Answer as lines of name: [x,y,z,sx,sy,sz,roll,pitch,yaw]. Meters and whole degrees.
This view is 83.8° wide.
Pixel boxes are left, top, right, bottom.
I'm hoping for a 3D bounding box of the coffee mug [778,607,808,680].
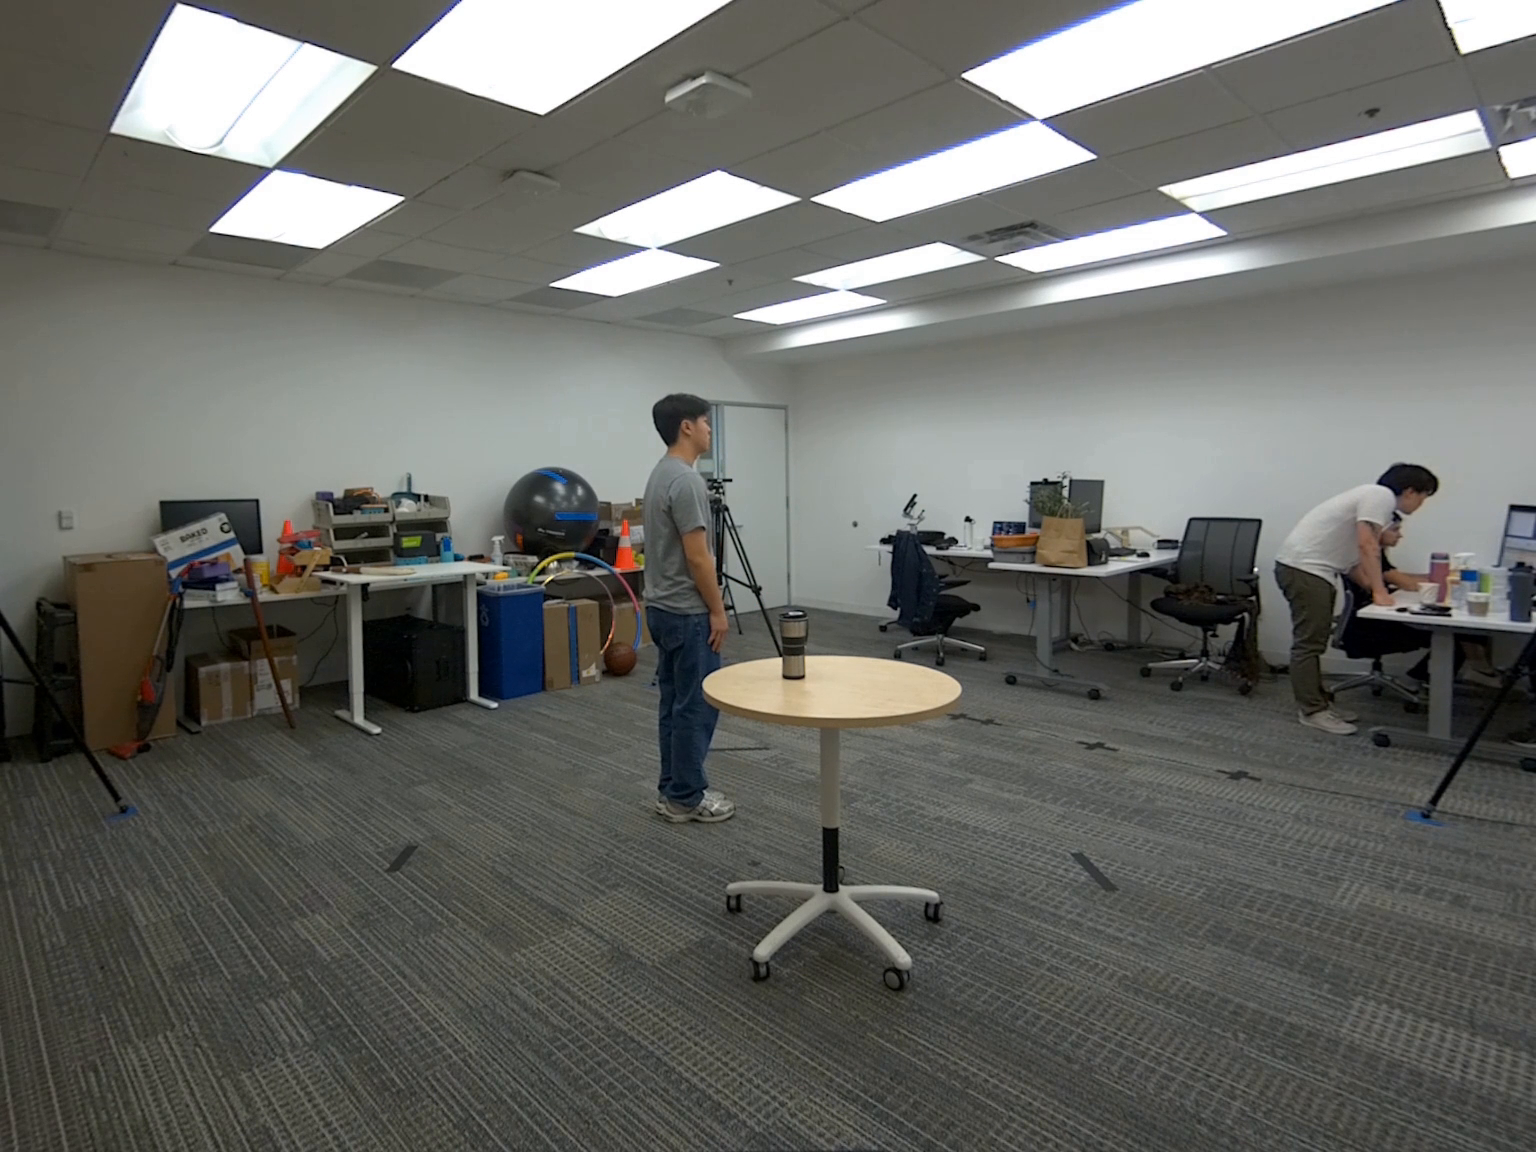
coffee mug: [0.104,0.214,2.641,0.119,0.202,0.090,-8,4,-44]
